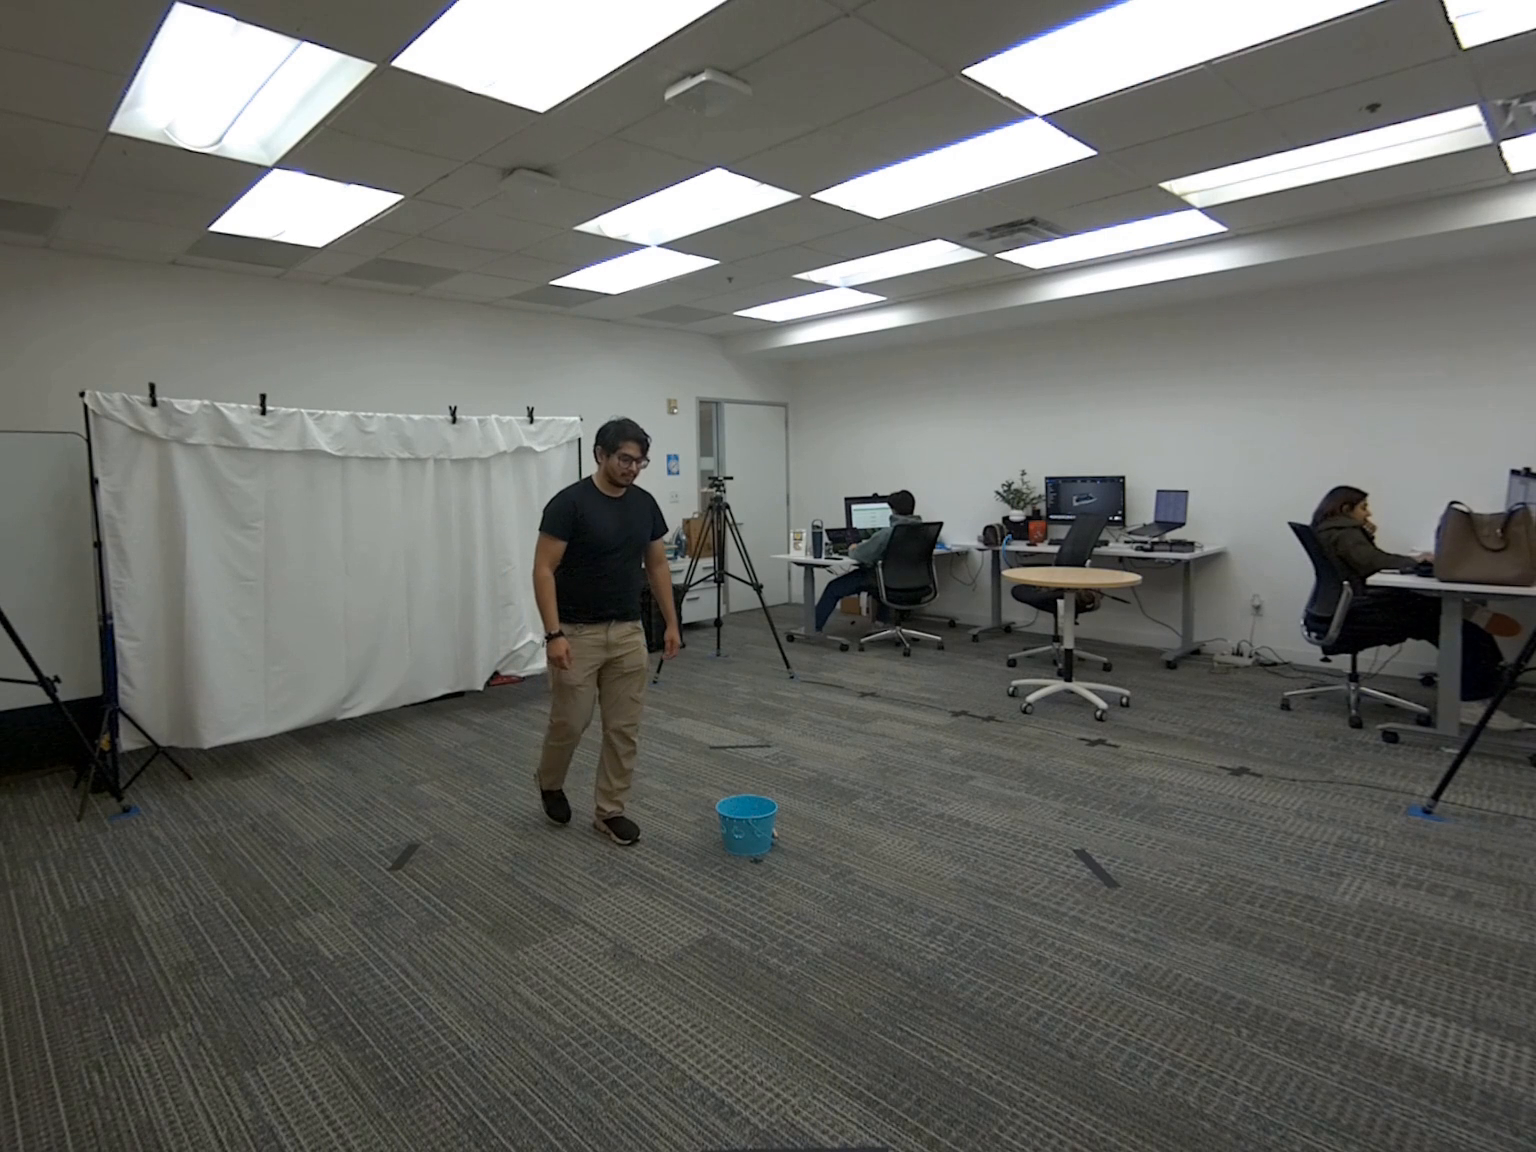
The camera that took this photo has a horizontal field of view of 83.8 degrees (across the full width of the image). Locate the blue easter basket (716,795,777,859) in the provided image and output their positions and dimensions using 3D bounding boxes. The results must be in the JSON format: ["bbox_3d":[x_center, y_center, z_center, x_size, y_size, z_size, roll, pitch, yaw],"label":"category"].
[{"bbox_3d":[-0.070,0.941,3.228,0.243,0.155,0.245,-1,6,-2],"label":"blue easter basket"}]
